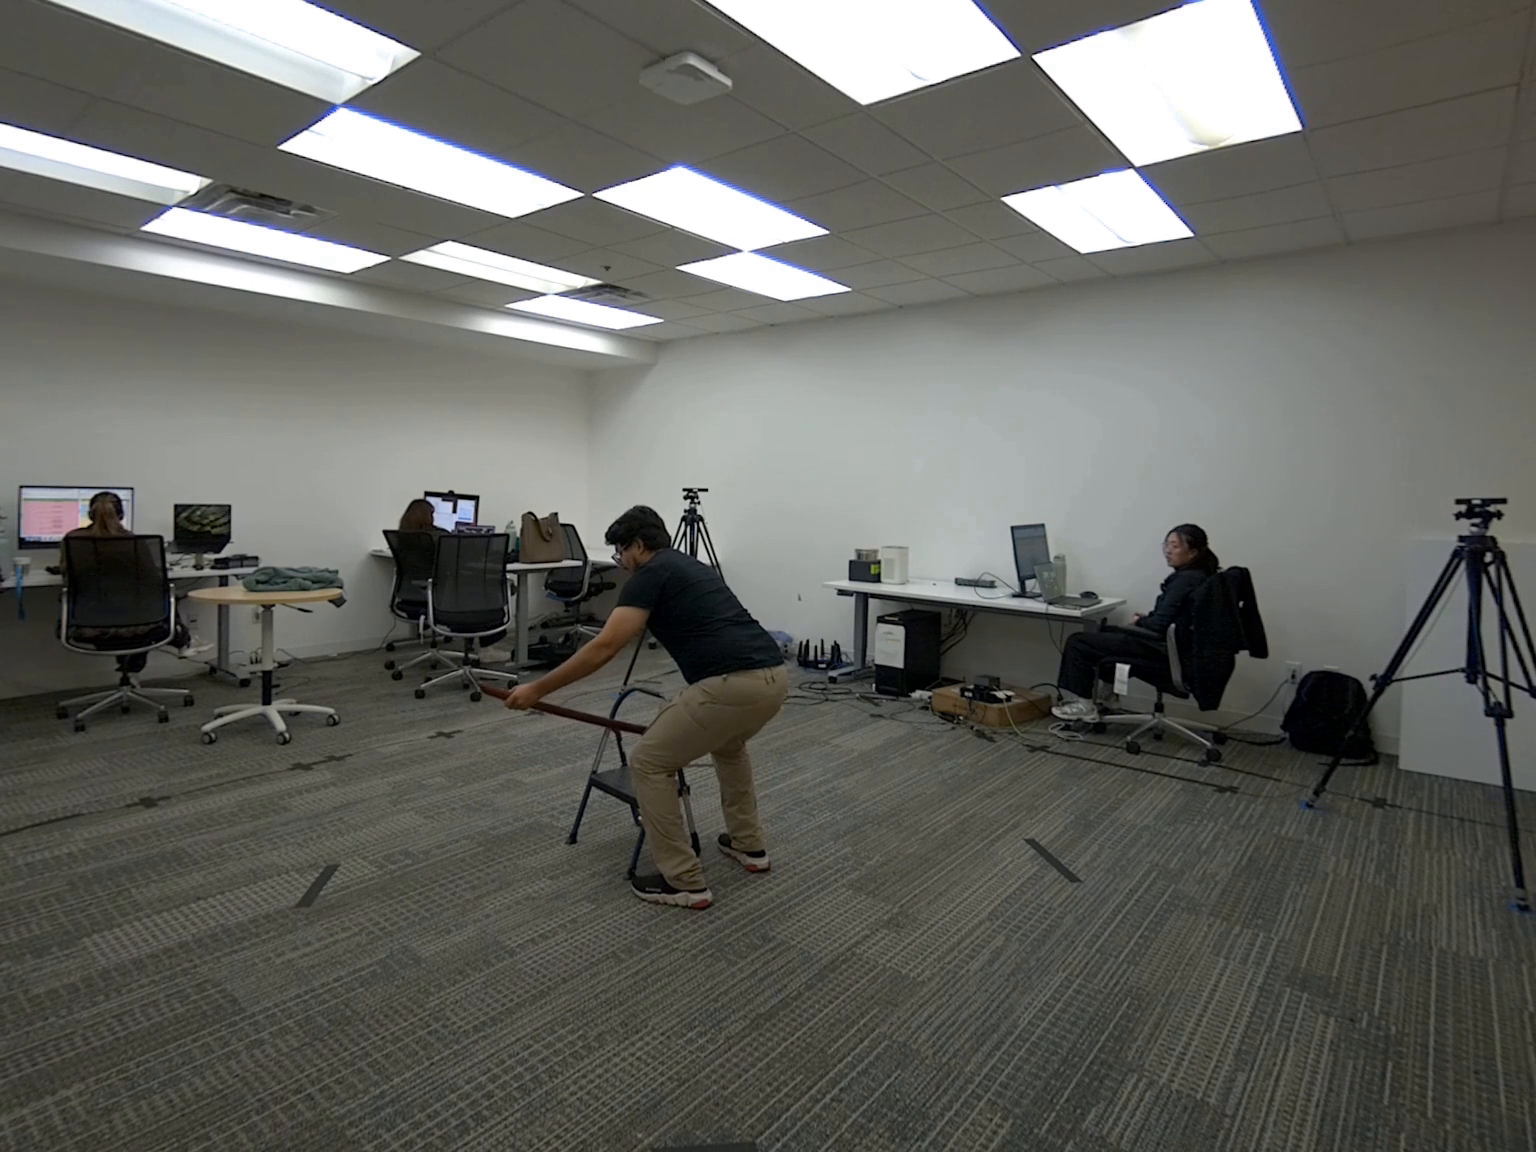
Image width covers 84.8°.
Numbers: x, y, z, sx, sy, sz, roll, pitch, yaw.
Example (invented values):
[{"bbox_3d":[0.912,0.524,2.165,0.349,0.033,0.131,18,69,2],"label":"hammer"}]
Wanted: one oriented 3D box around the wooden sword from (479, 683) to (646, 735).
[{"bbox_3d":[-0.647,0.484,2.996,0.025,0.052,0.983,1,-17,40],"label":"wooden sword"}]
